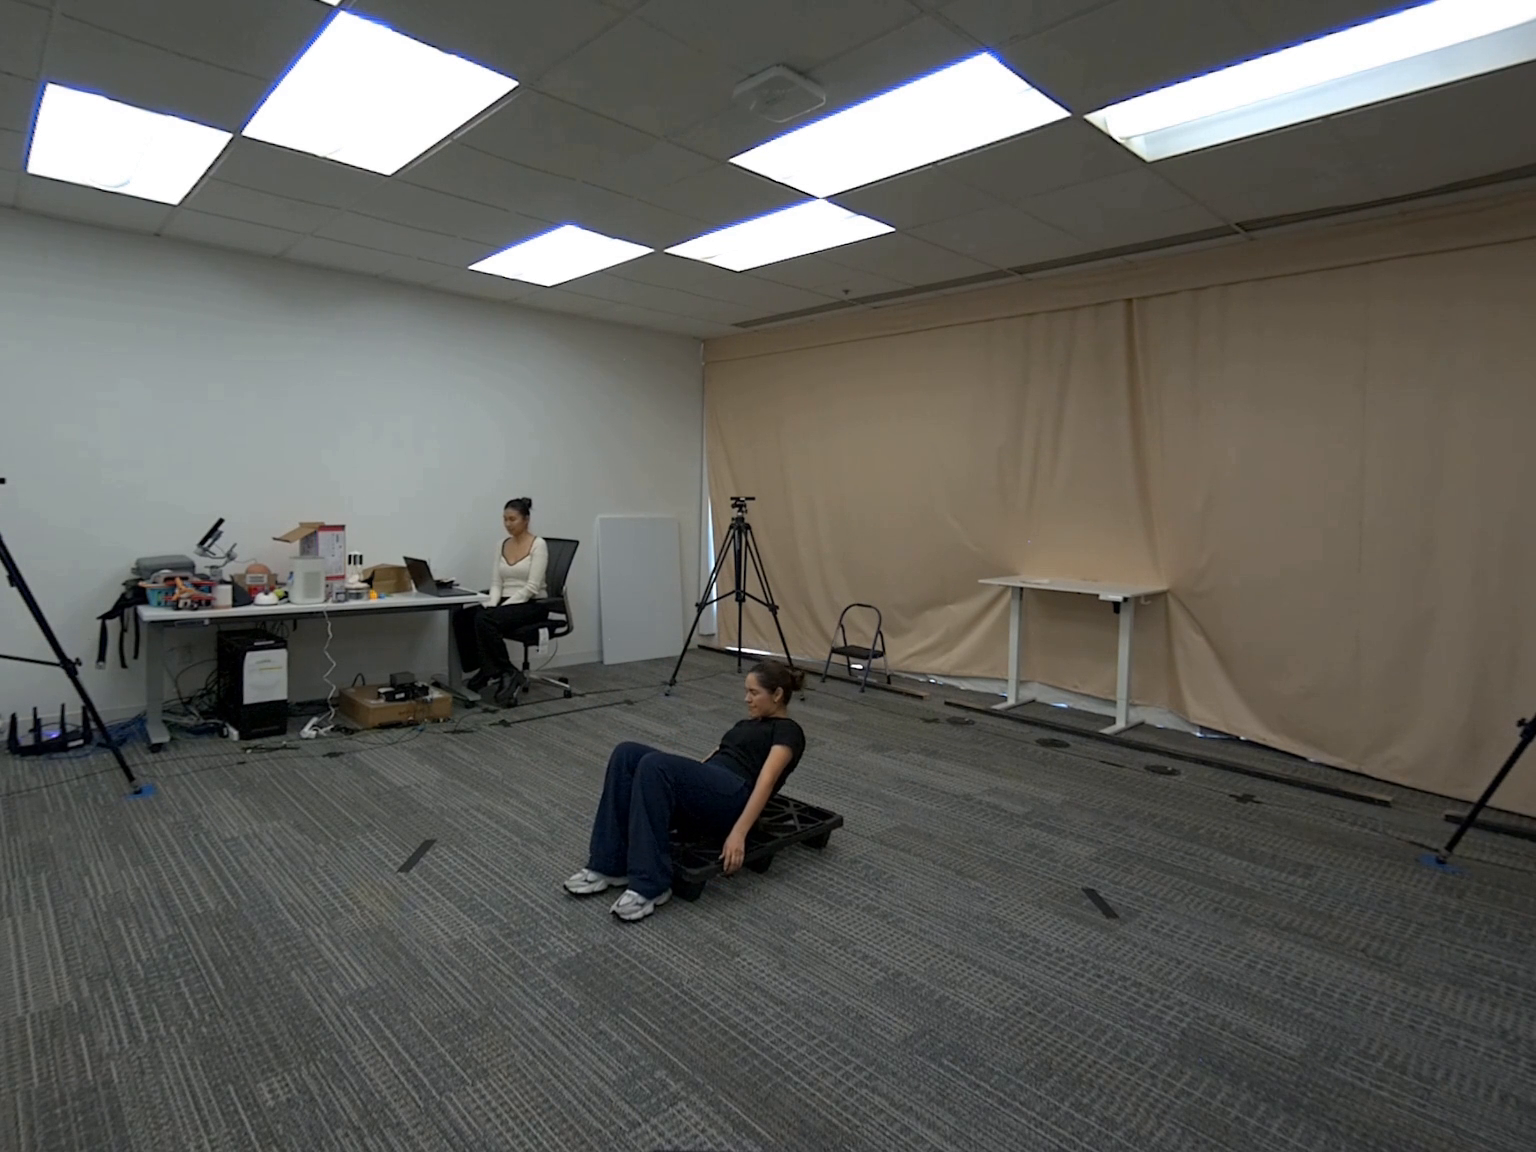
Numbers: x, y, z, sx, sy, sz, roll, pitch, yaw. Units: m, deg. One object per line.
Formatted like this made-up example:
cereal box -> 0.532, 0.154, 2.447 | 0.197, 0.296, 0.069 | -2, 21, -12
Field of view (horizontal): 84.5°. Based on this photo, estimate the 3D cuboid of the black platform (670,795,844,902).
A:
black platform -> -0.190, 1.025, 3.294 | 0.620, 0.143, 0.787 | 5, 6, 45
